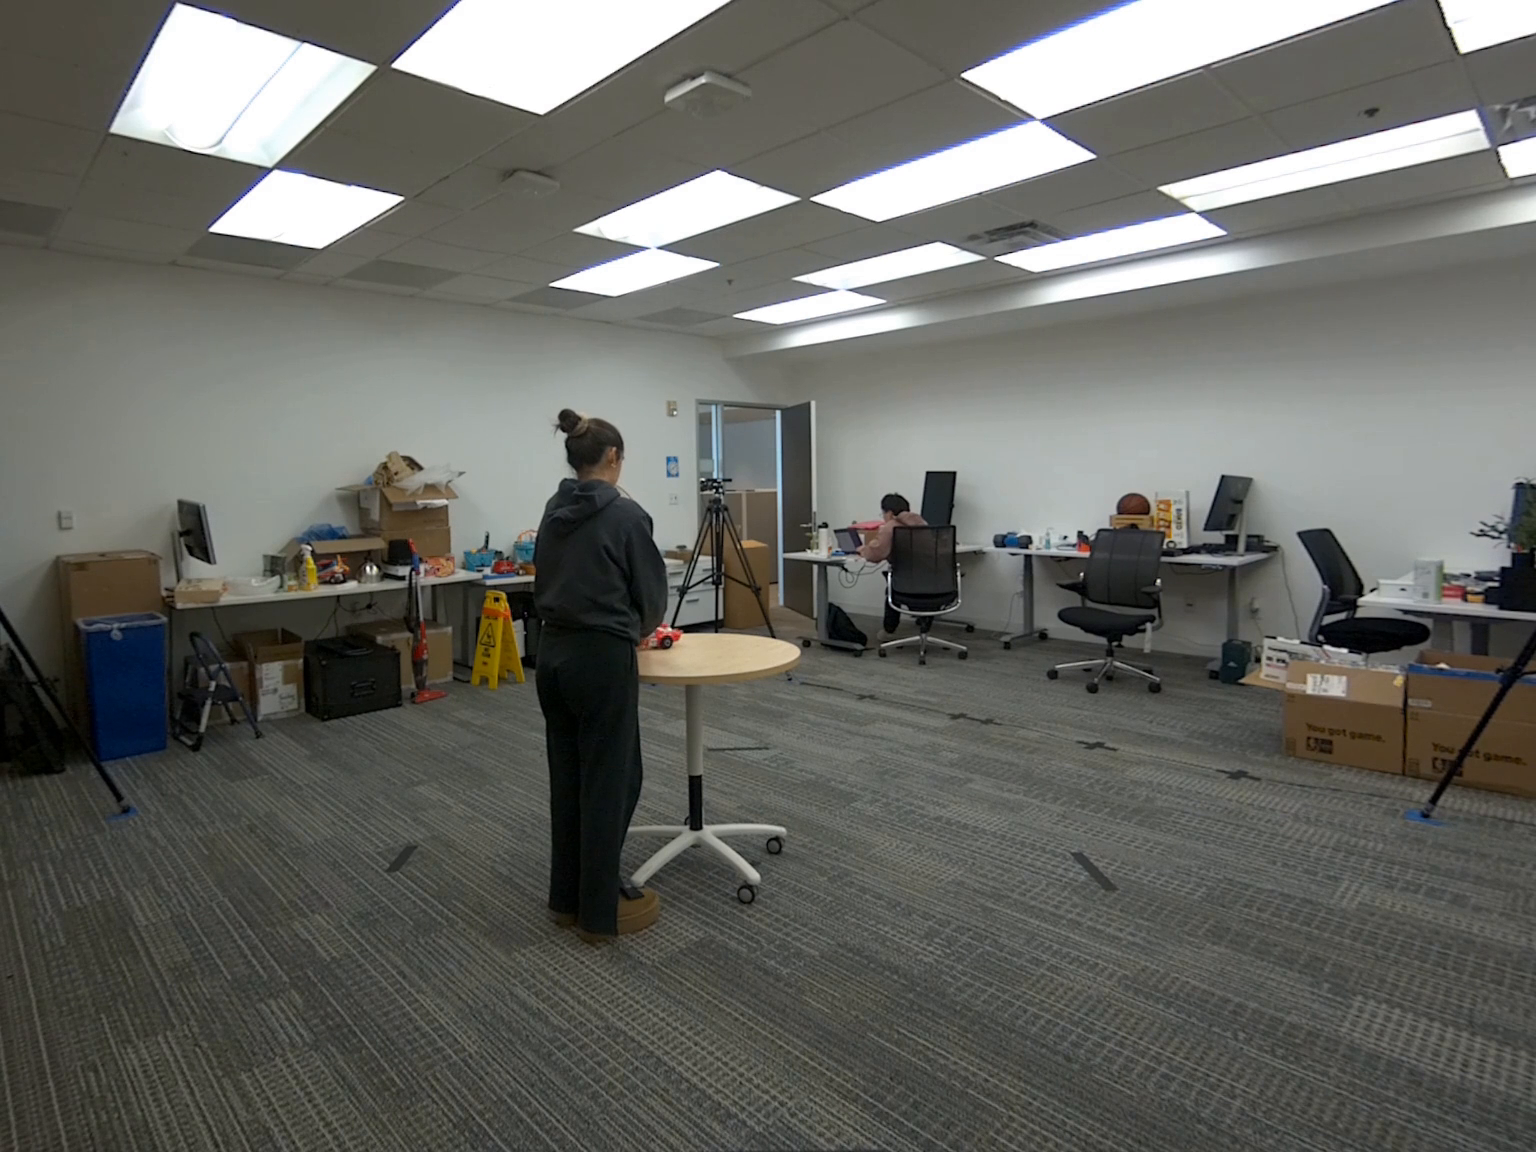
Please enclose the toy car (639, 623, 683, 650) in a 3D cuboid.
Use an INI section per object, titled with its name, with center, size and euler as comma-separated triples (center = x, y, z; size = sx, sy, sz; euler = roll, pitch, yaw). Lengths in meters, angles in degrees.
[toy car]
center = -0.430, 0.239, 3.121
size = 0.251, 0.082, 0.133
euler = -18, 12, -24
